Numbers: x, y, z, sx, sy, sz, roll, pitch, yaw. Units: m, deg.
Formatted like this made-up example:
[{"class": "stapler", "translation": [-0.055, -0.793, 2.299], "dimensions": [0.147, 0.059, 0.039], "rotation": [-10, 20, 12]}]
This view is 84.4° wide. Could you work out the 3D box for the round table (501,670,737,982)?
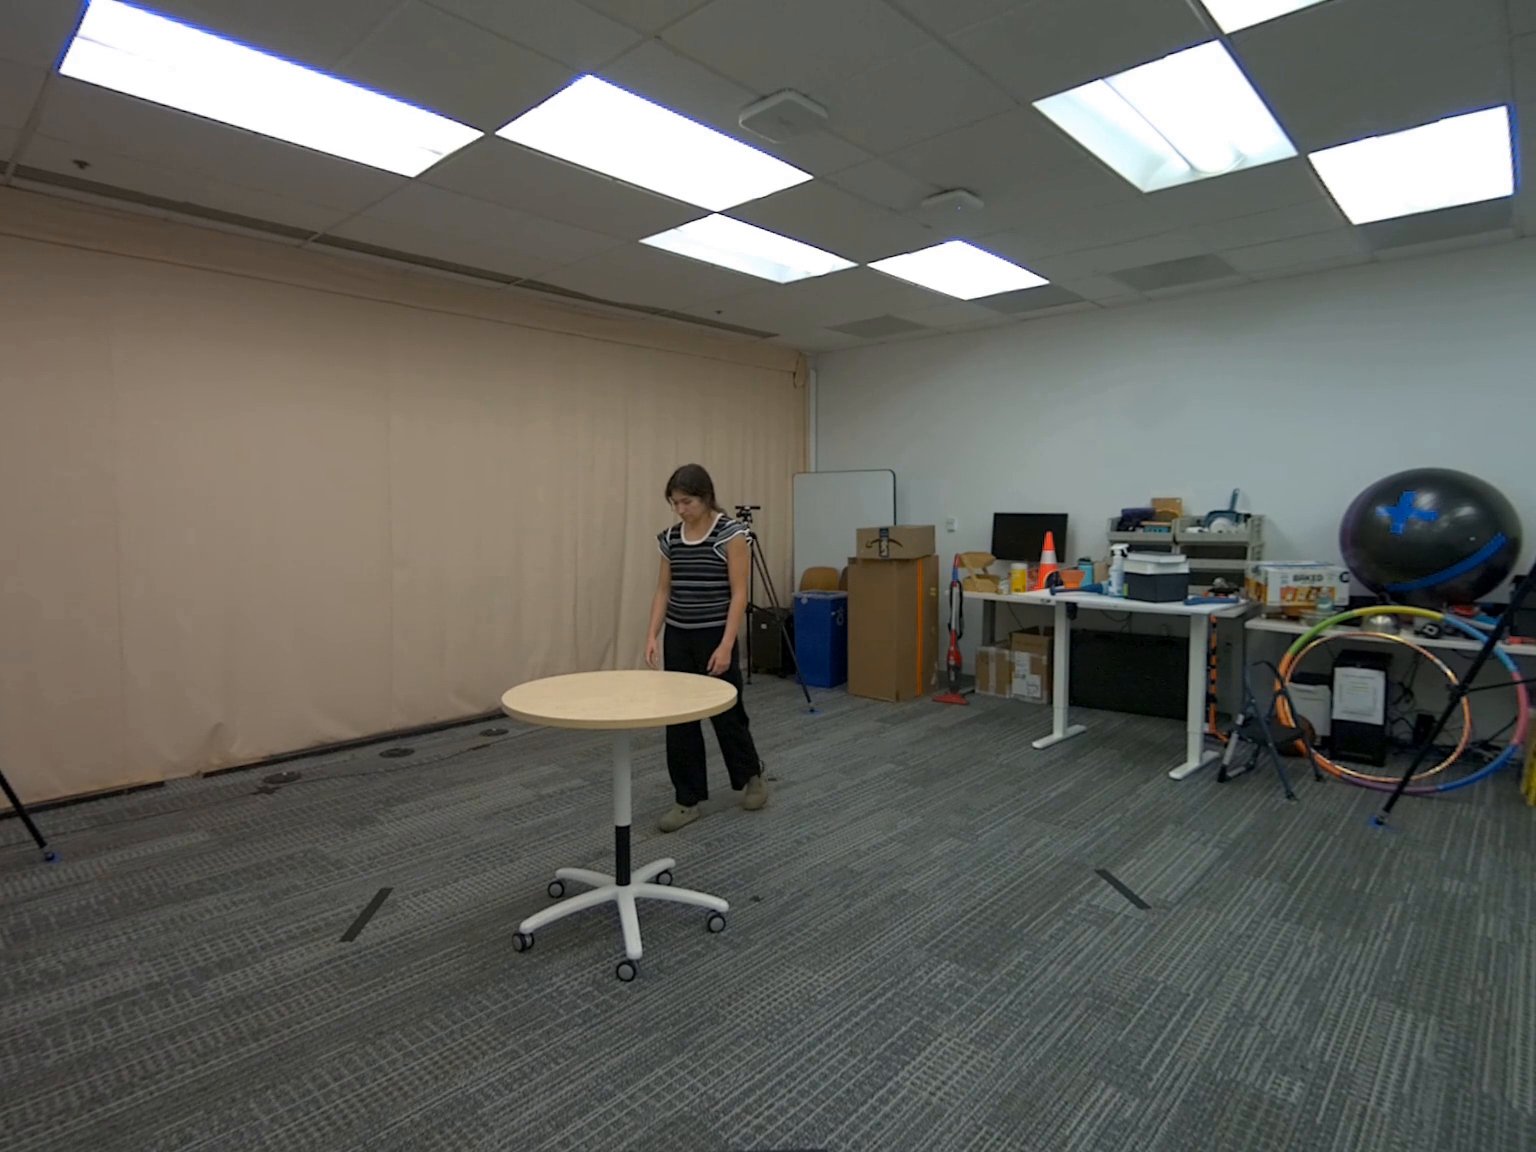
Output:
[{"class": "round table", "translation": [-0.484, 0.773, 2.786], "dimensions": [0.763, 0.792, 0.766], "rotation": [-1, 3, -2]}]
